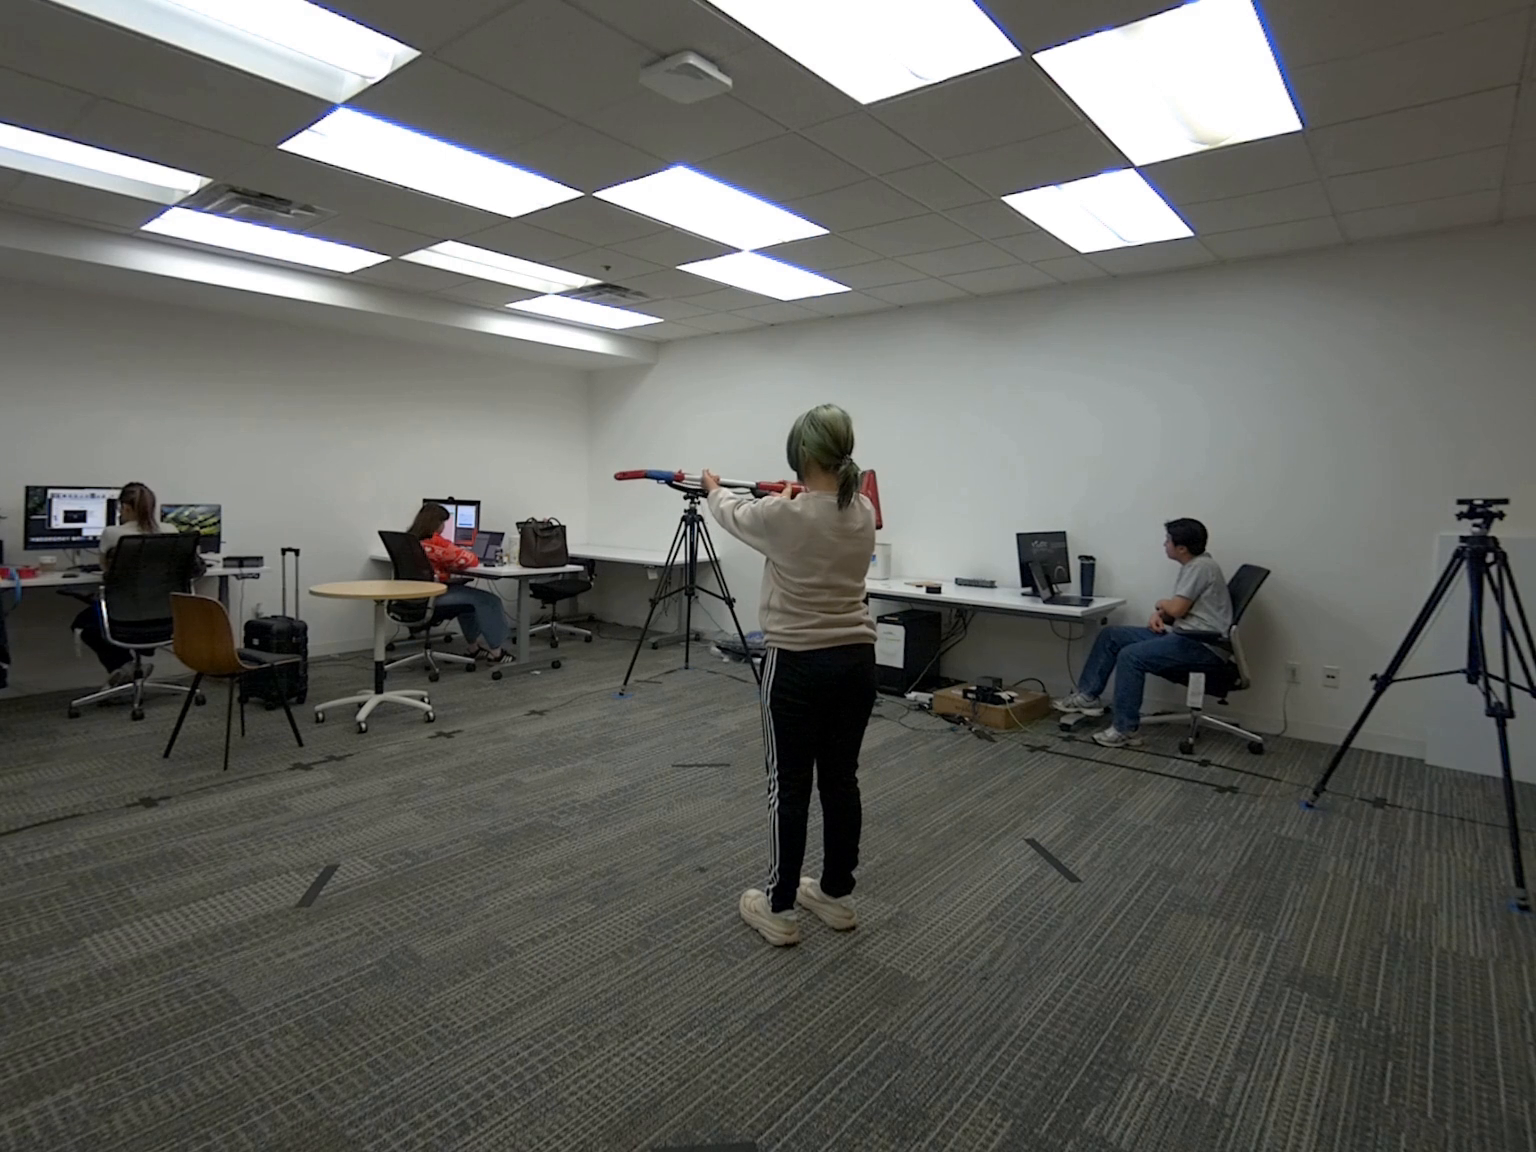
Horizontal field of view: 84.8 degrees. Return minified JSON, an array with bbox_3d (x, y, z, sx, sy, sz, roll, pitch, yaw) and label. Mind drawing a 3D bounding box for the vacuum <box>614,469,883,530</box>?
[{"bbox_3d":[-0.068,-0.332,3.208,1.022,0.257,0.145,3,-20,-26],"label":"vacuum"}]
